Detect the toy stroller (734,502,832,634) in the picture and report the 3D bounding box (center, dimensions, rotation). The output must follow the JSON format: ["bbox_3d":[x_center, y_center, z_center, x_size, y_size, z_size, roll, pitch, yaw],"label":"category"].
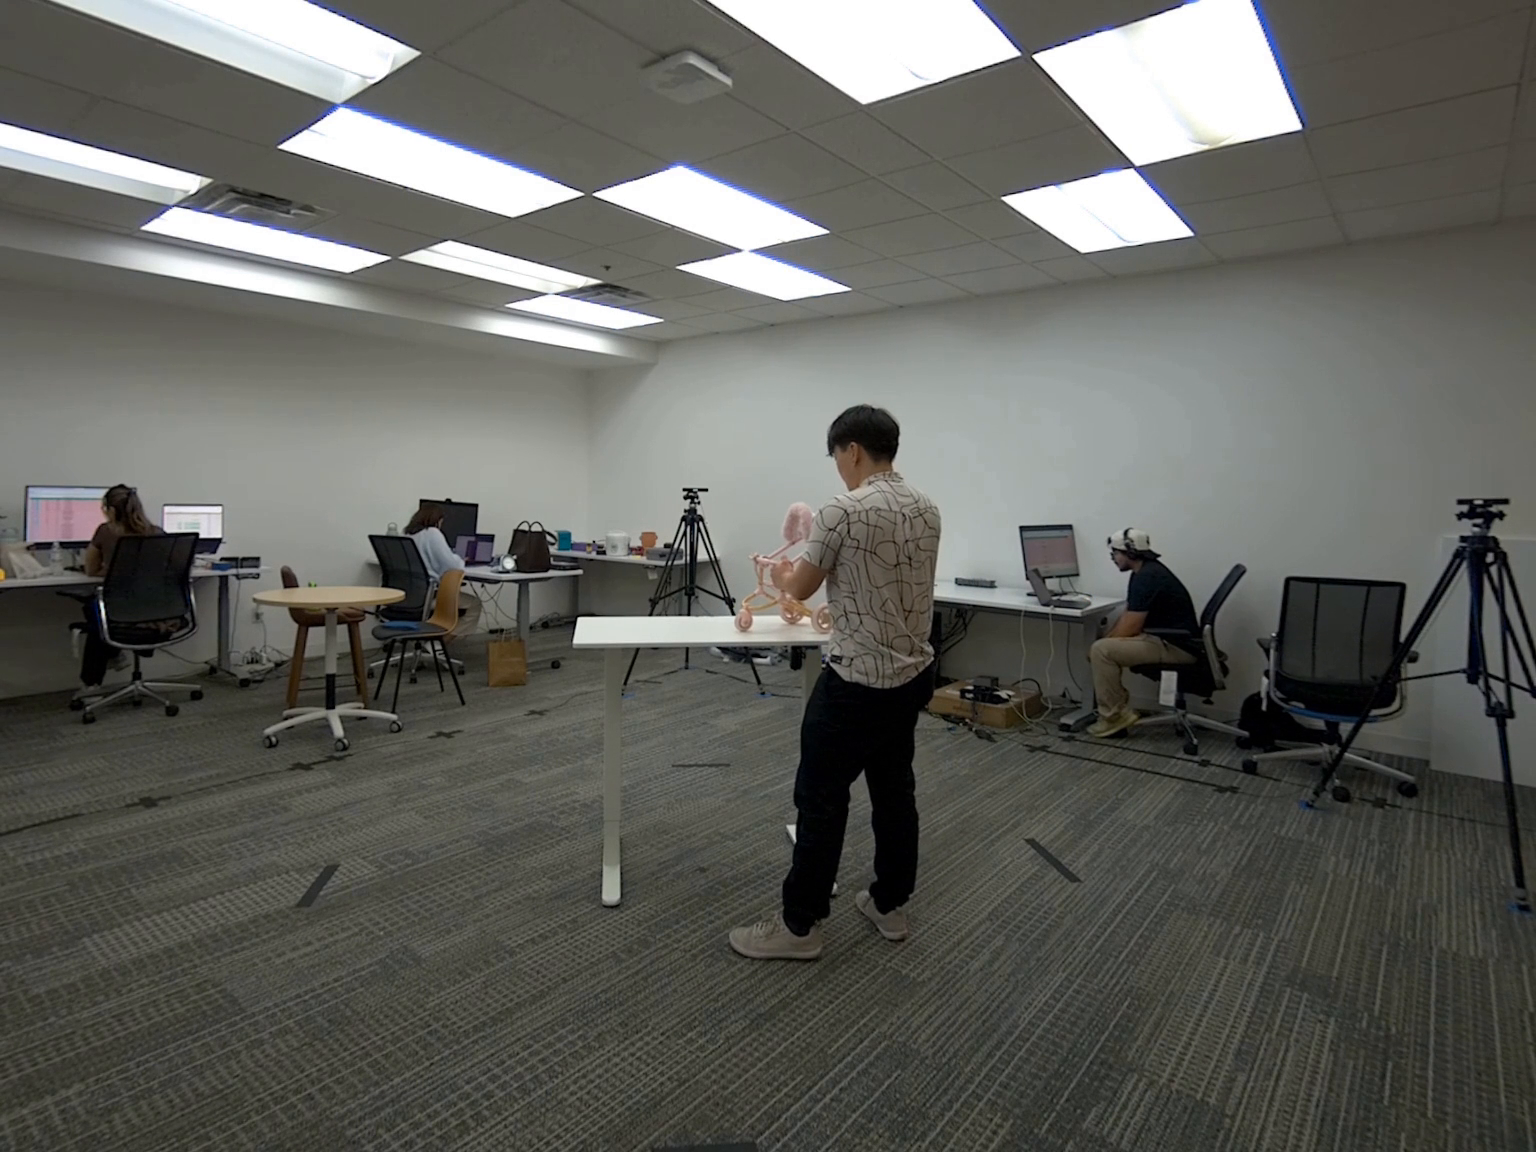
[{"bbox_3d":[0.077,-0.030,3.094,0.334,0.536,0.287,16,-2,-18],"label":"toy stroller"}]
